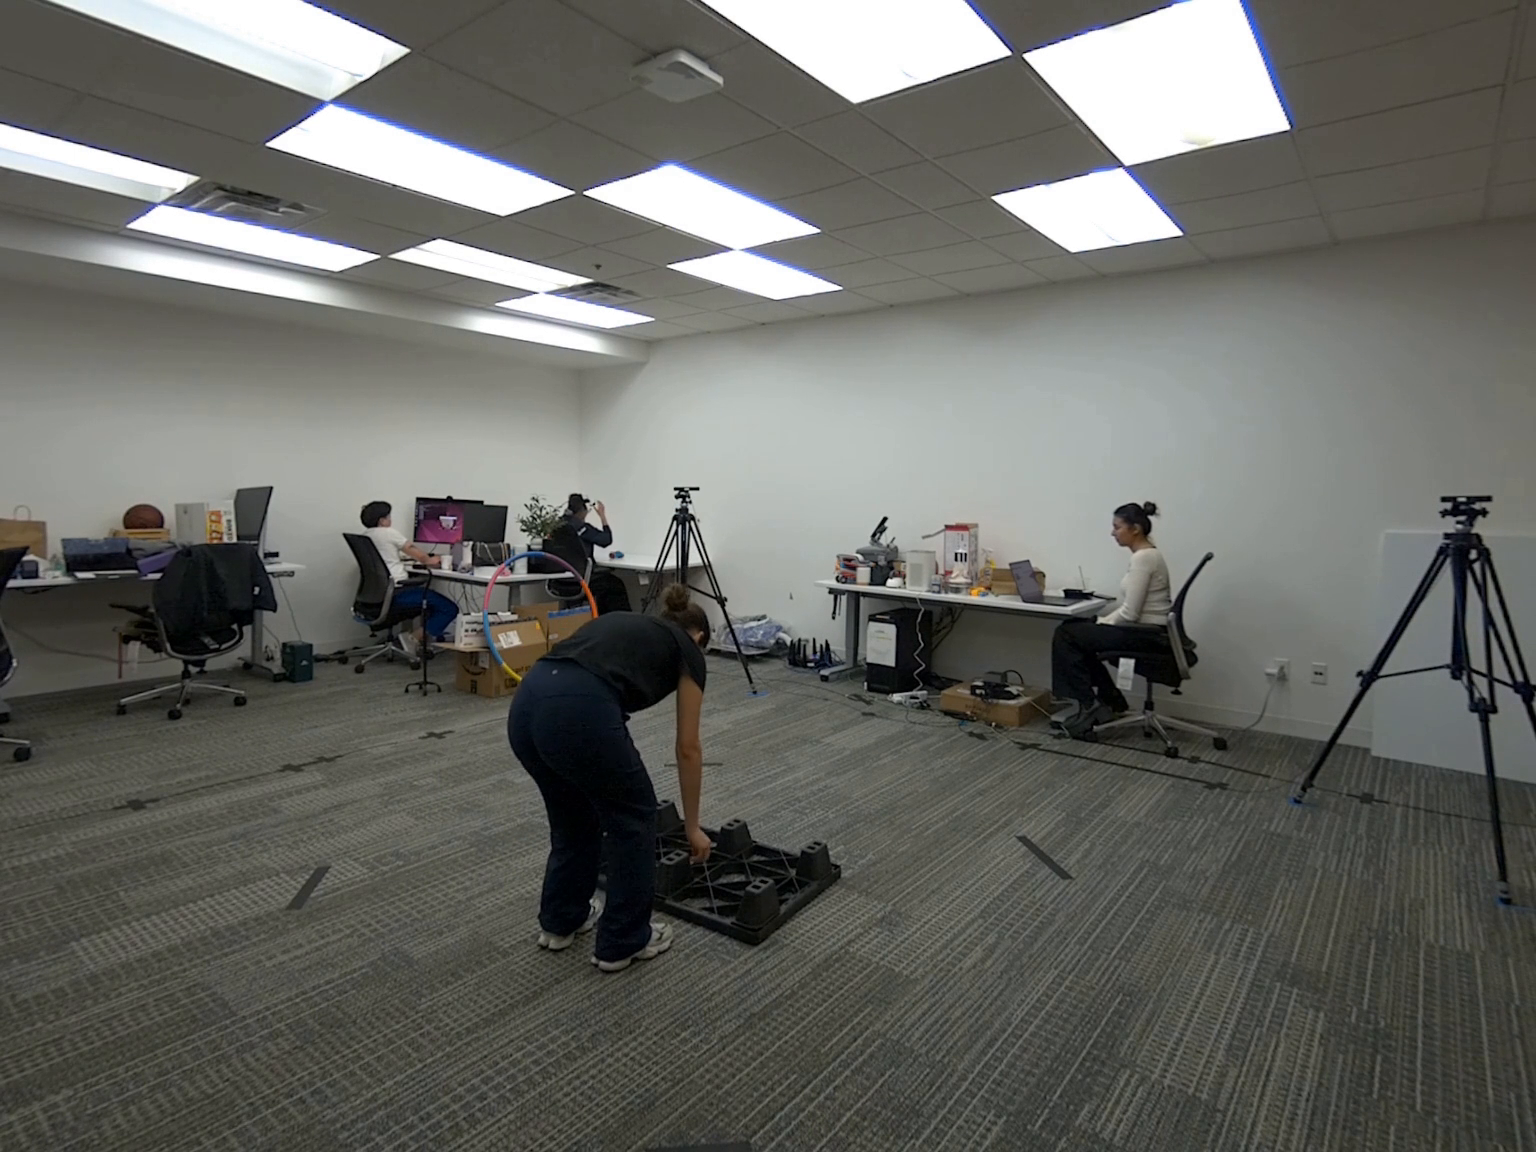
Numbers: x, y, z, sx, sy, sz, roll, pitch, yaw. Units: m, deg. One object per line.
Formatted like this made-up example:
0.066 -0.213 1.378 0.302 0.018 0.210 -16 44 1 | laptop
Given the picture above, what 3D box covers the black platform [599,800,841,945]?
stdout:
-0.215 1.005 3.054 0.831 0.143 0.588 4 6 33 | black platform
